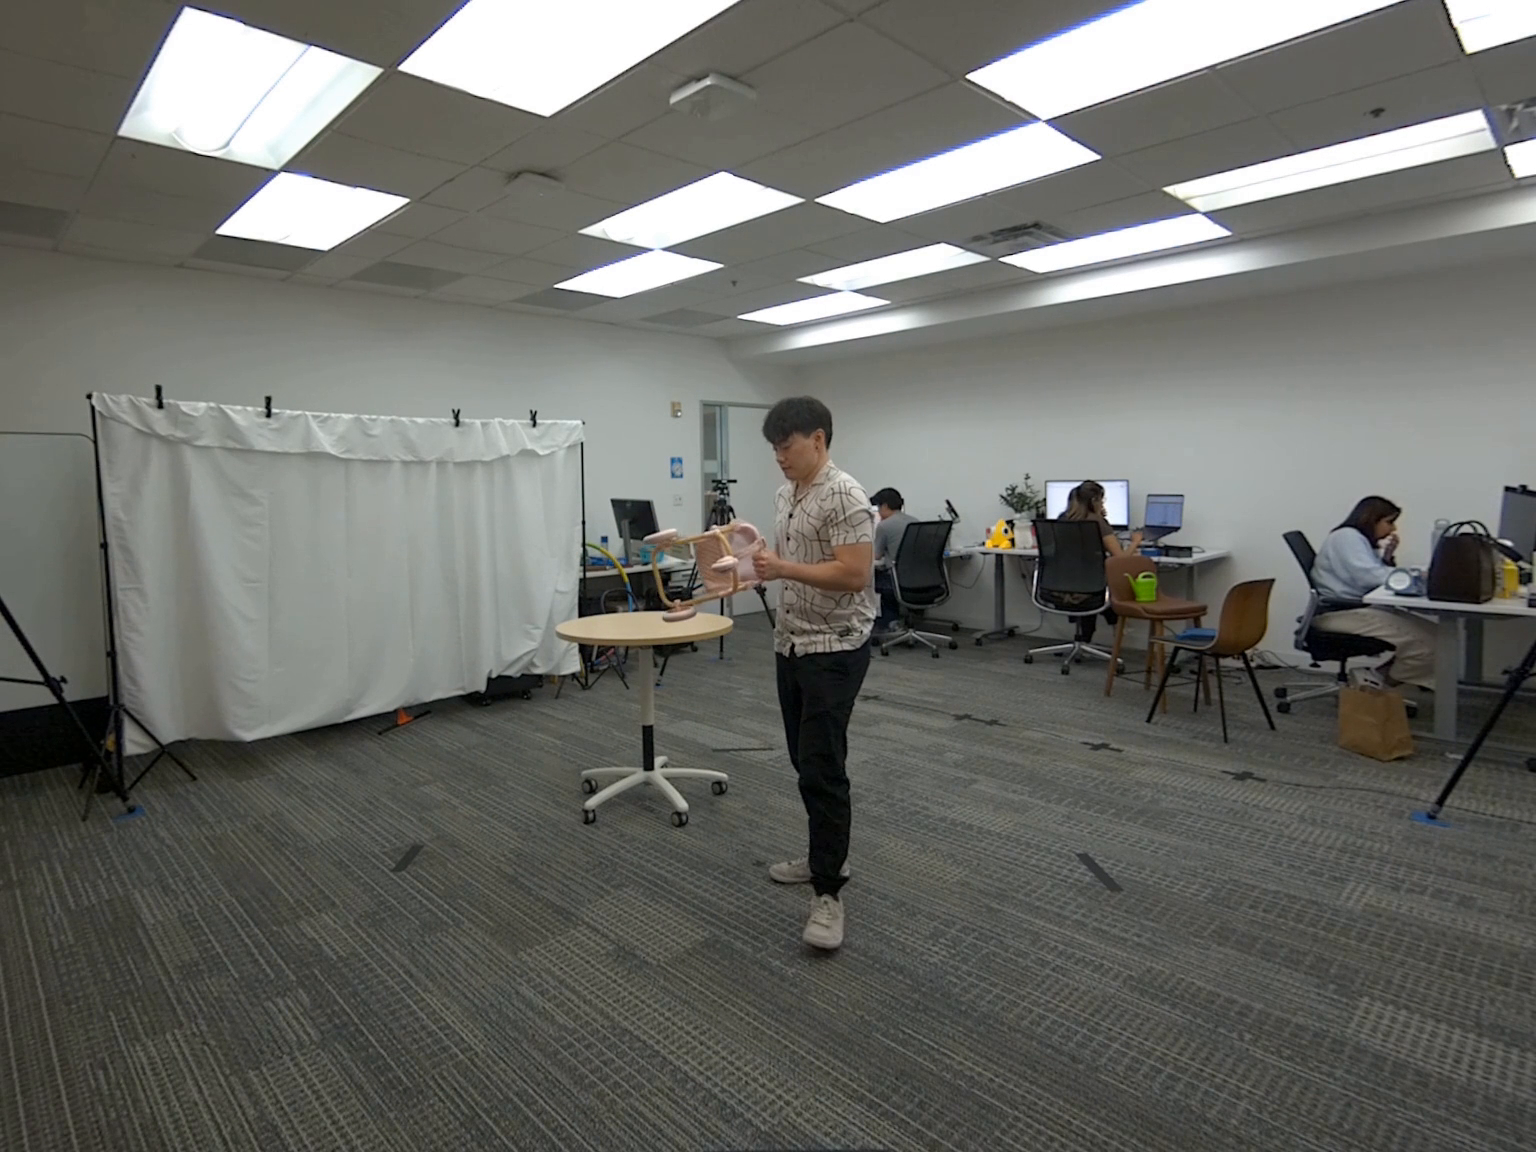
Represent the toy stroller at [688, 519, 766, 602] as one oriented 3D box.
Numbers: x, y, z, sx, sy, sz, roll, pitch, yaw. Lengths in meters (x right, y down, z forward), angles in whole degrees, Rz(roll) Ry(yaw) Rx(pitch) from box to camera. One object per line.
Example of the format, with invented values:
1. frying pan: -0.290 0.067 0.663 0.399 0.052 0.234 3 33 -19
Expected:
1. toy stroller: -0.148 -0.054 2.730 0.347 0.281 0.527 -16 3 27
